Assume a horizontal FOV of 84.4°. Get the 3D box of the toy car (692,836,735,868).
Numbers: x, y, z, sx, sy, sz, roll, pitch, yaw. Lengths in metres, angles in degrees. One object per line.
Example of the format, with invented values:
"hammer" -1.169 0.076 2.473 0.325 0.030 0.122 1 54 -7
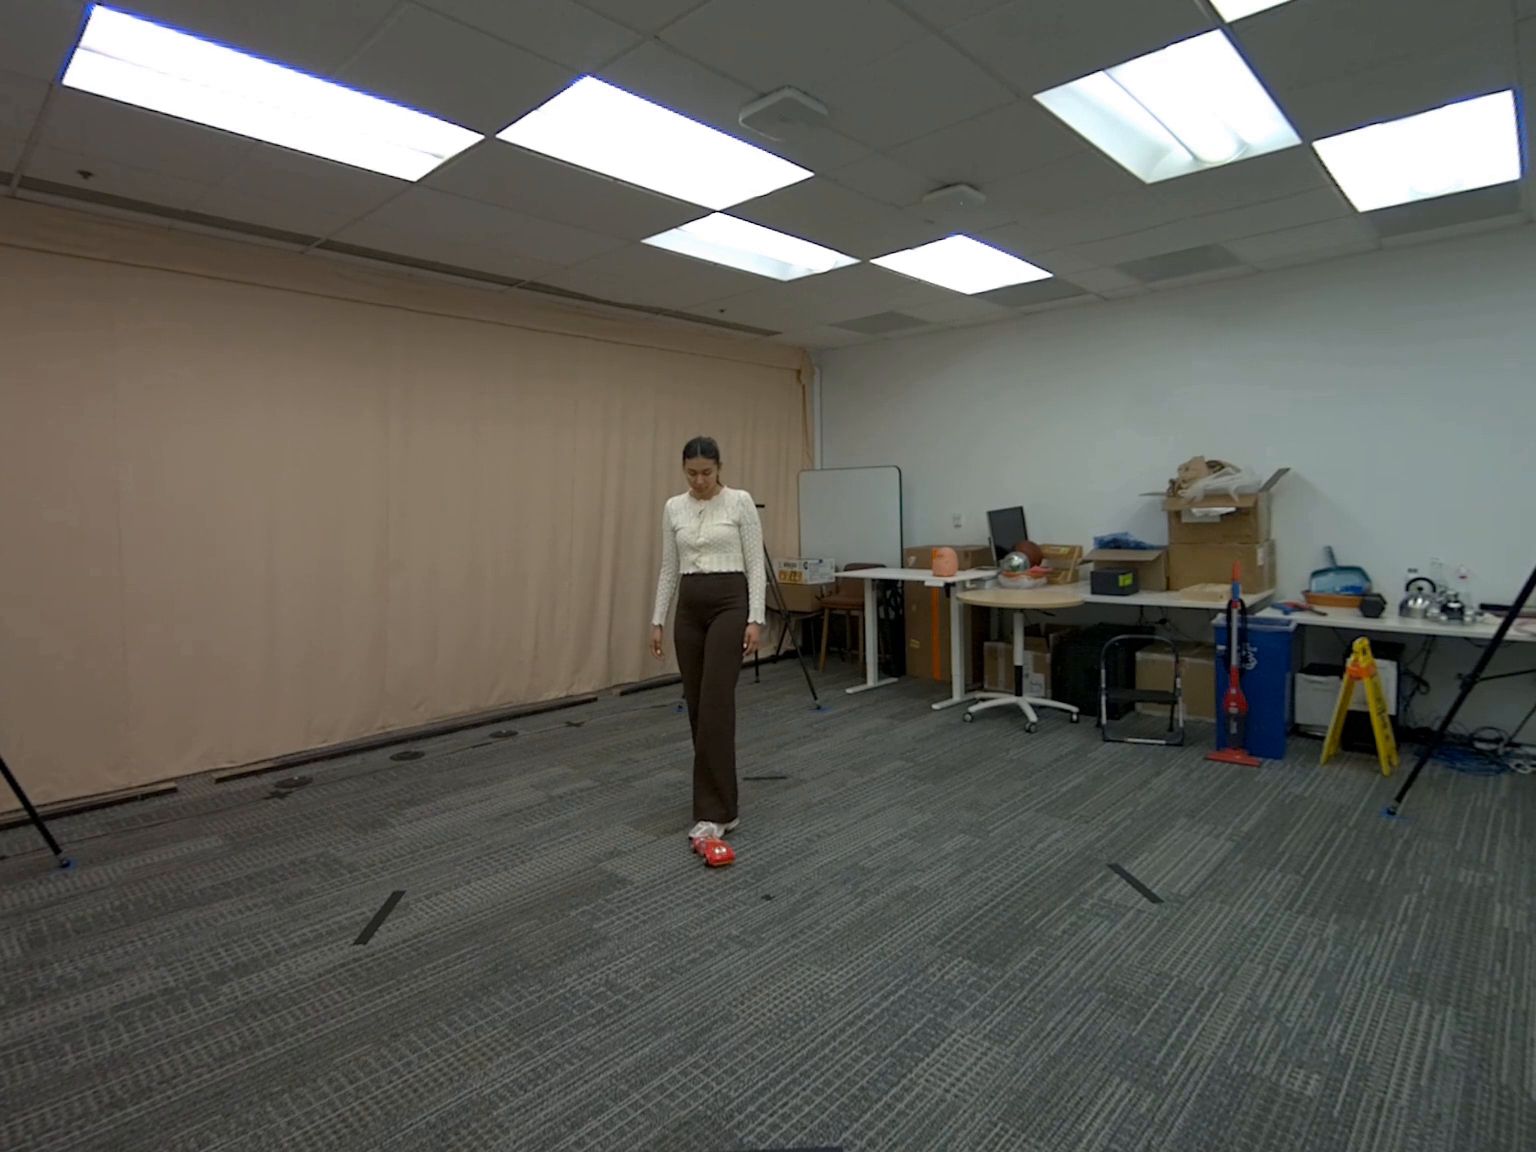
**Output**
"toy car" -0.213 1.078 3.315 0.127 0.083 0.259 -3 -5 -23
